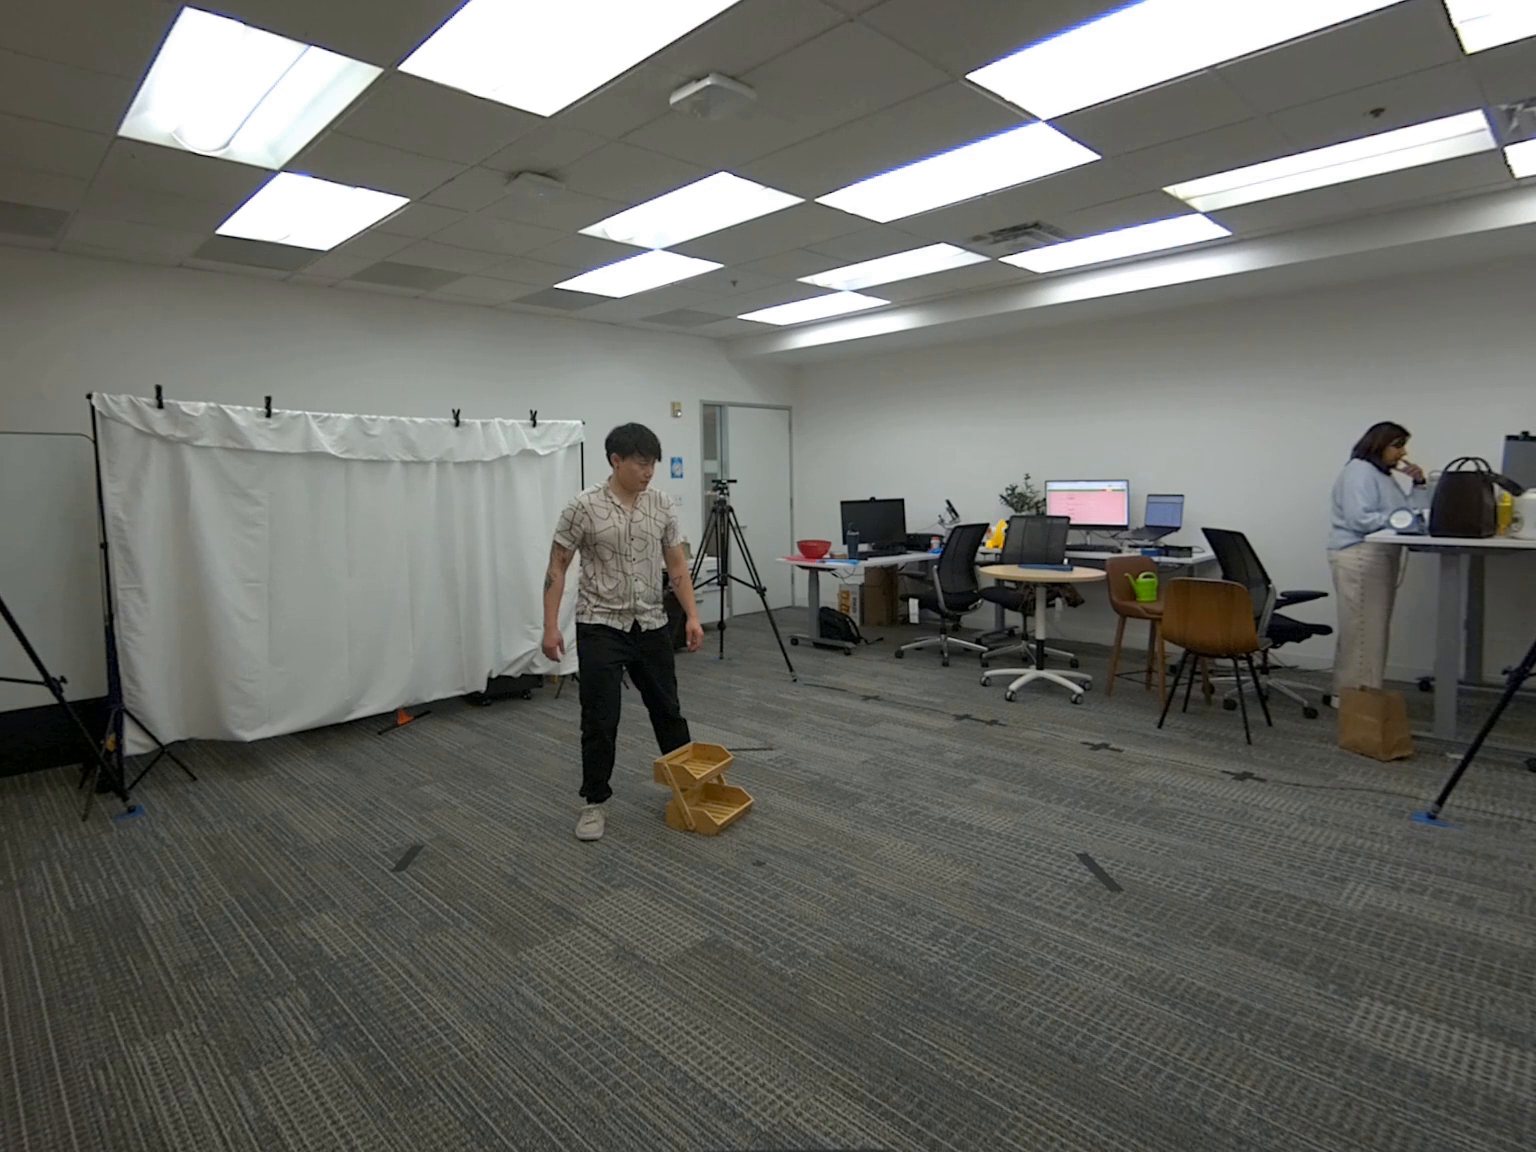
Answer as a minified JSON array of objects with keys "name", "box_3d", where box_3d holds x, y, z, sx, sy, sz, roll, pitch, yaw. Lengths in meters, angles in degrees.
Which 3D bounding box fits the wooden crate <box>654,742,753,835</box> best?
[{"name":"wooden crate","box_3d":[-0.259,0.868,3.541,0.309,0.272,0.317,0,4,29]}]
